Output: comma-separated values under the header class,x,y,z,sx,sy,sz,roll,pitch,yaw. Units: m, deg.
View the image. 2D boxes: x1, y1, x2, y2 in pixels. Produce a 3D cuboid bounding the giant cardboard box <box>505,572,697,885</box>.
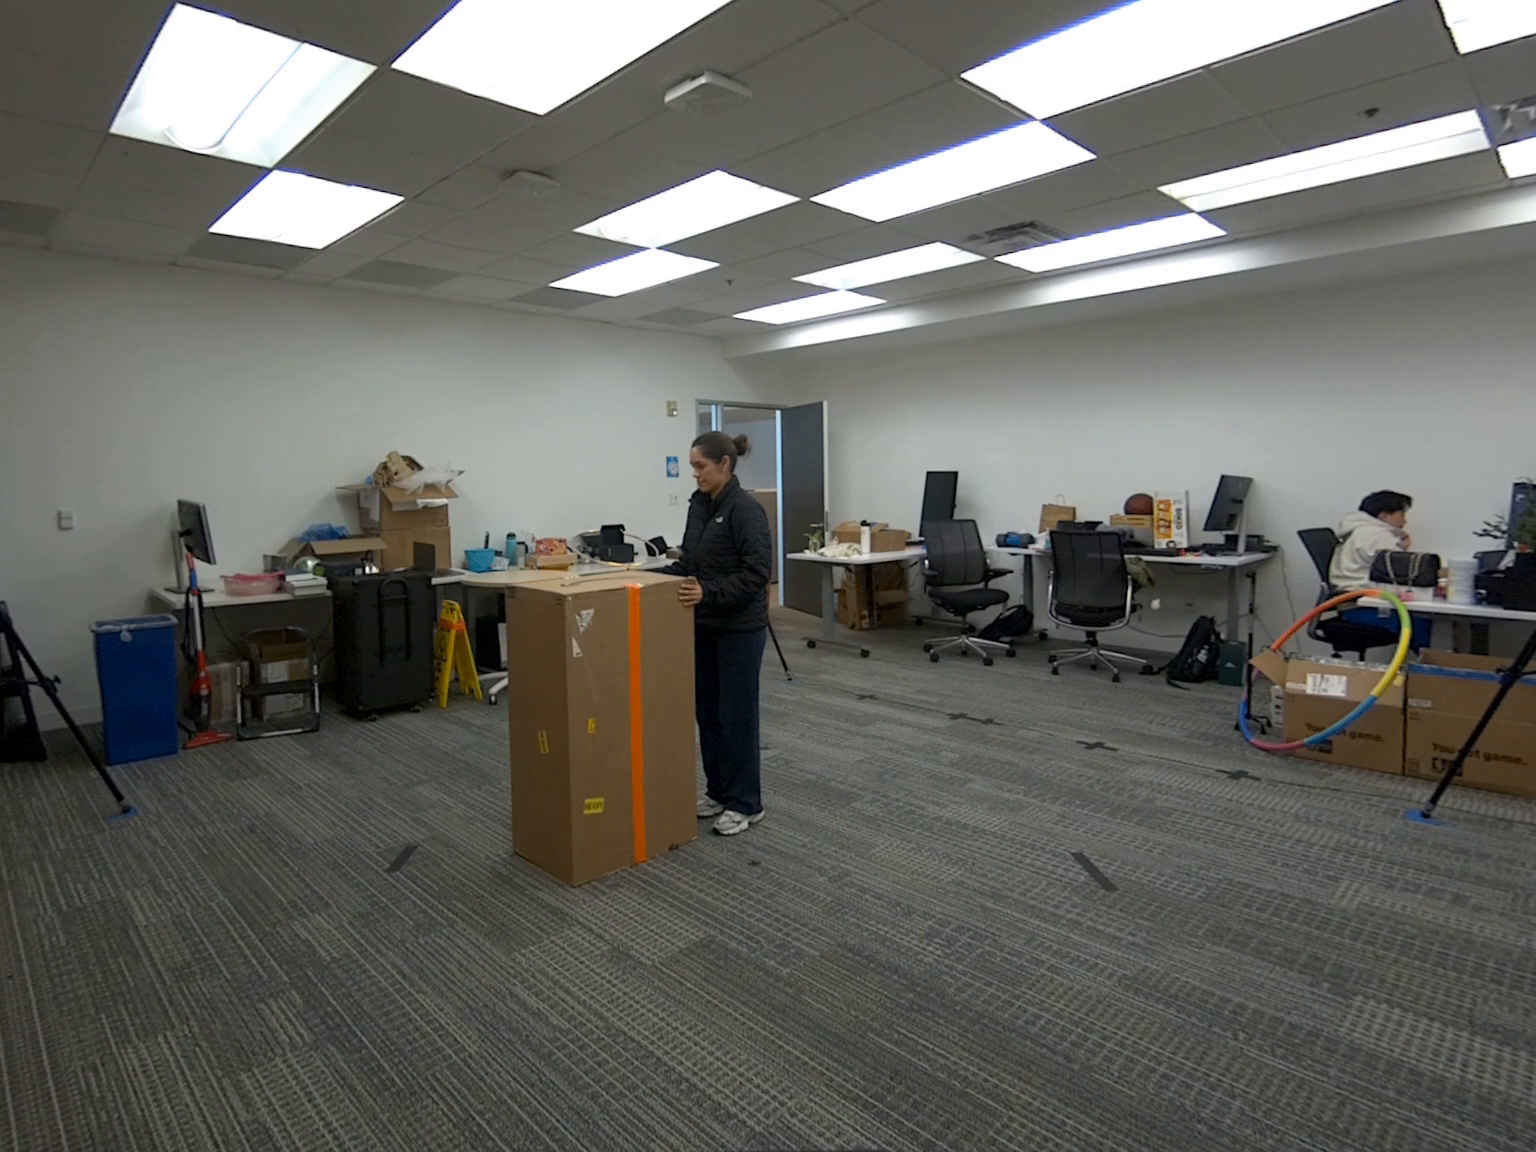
class,x,y,z,sx,sy,sz,roll,pitch,yaw
giant cardboard box,-0.631,0.531,3.256,0.562,1.022,0.439,-4,5,-43
